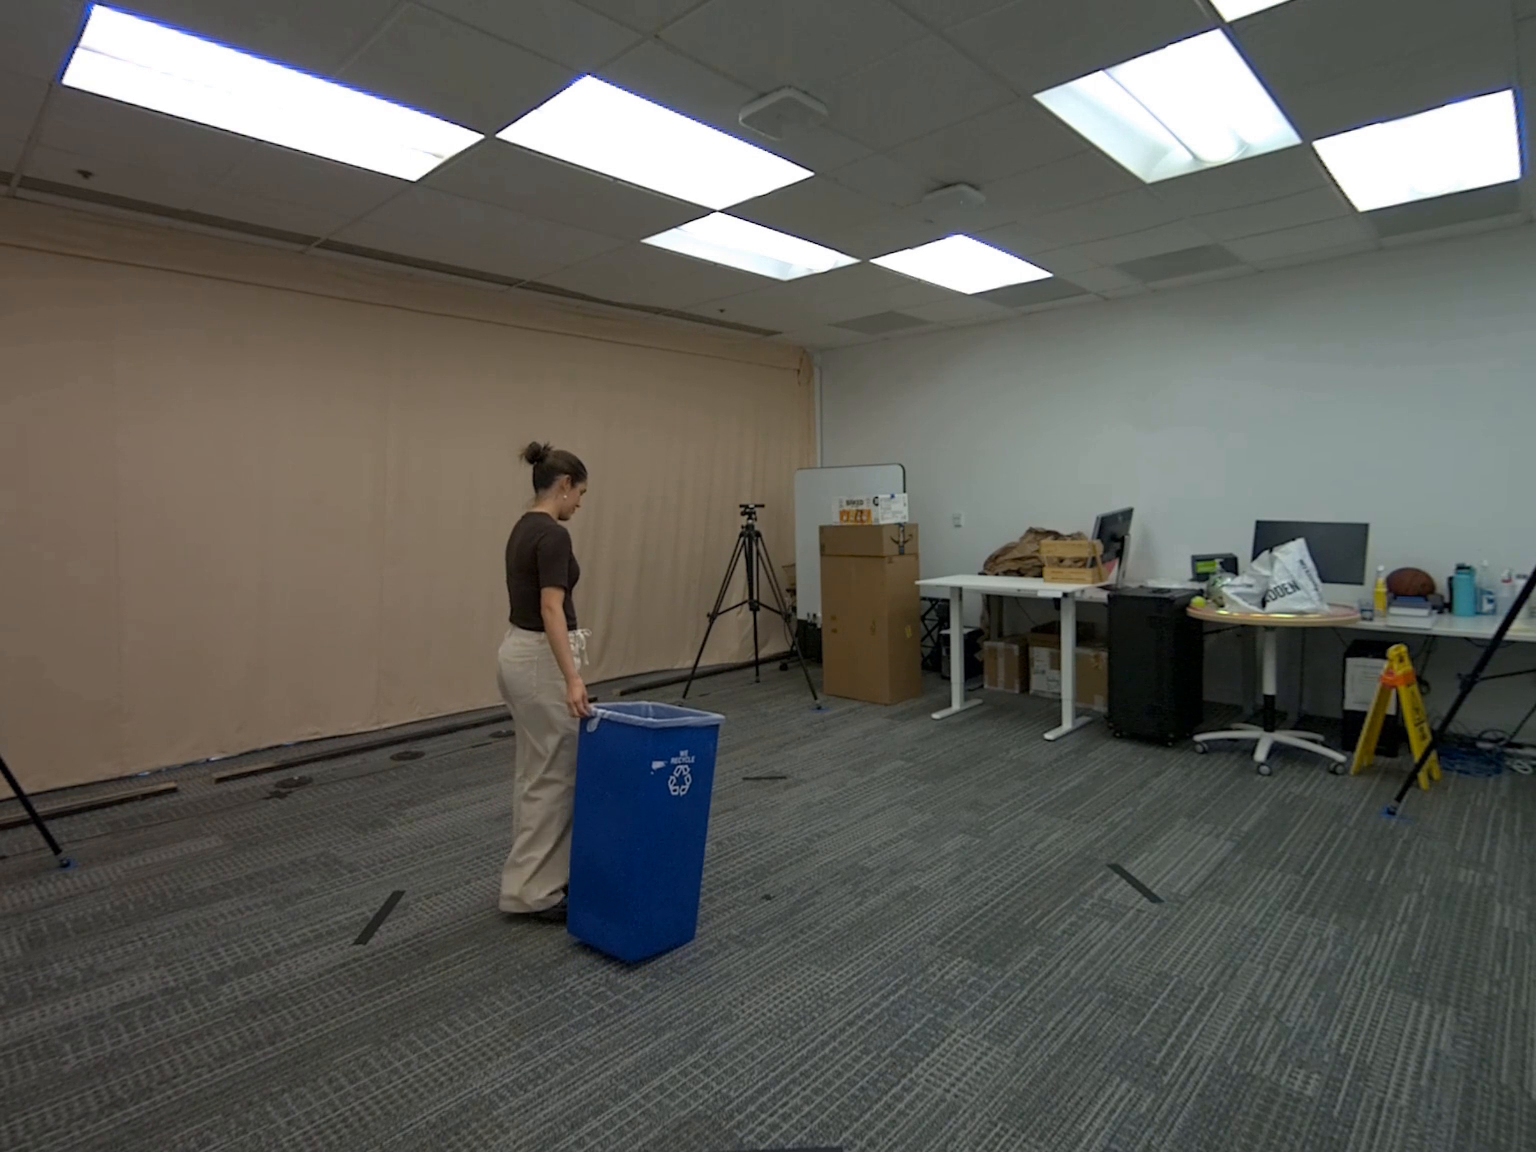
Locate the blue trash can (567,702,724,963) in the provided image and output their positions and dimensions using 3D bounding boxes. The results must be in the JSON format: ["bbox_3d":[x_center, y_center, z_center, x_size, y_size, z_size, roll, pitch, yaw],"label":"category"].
[{"bbox_3d":[-0.409,0.796,2.727,0.390,0.715,0.361,2,-4,37],"label":"blue trash can"}]
